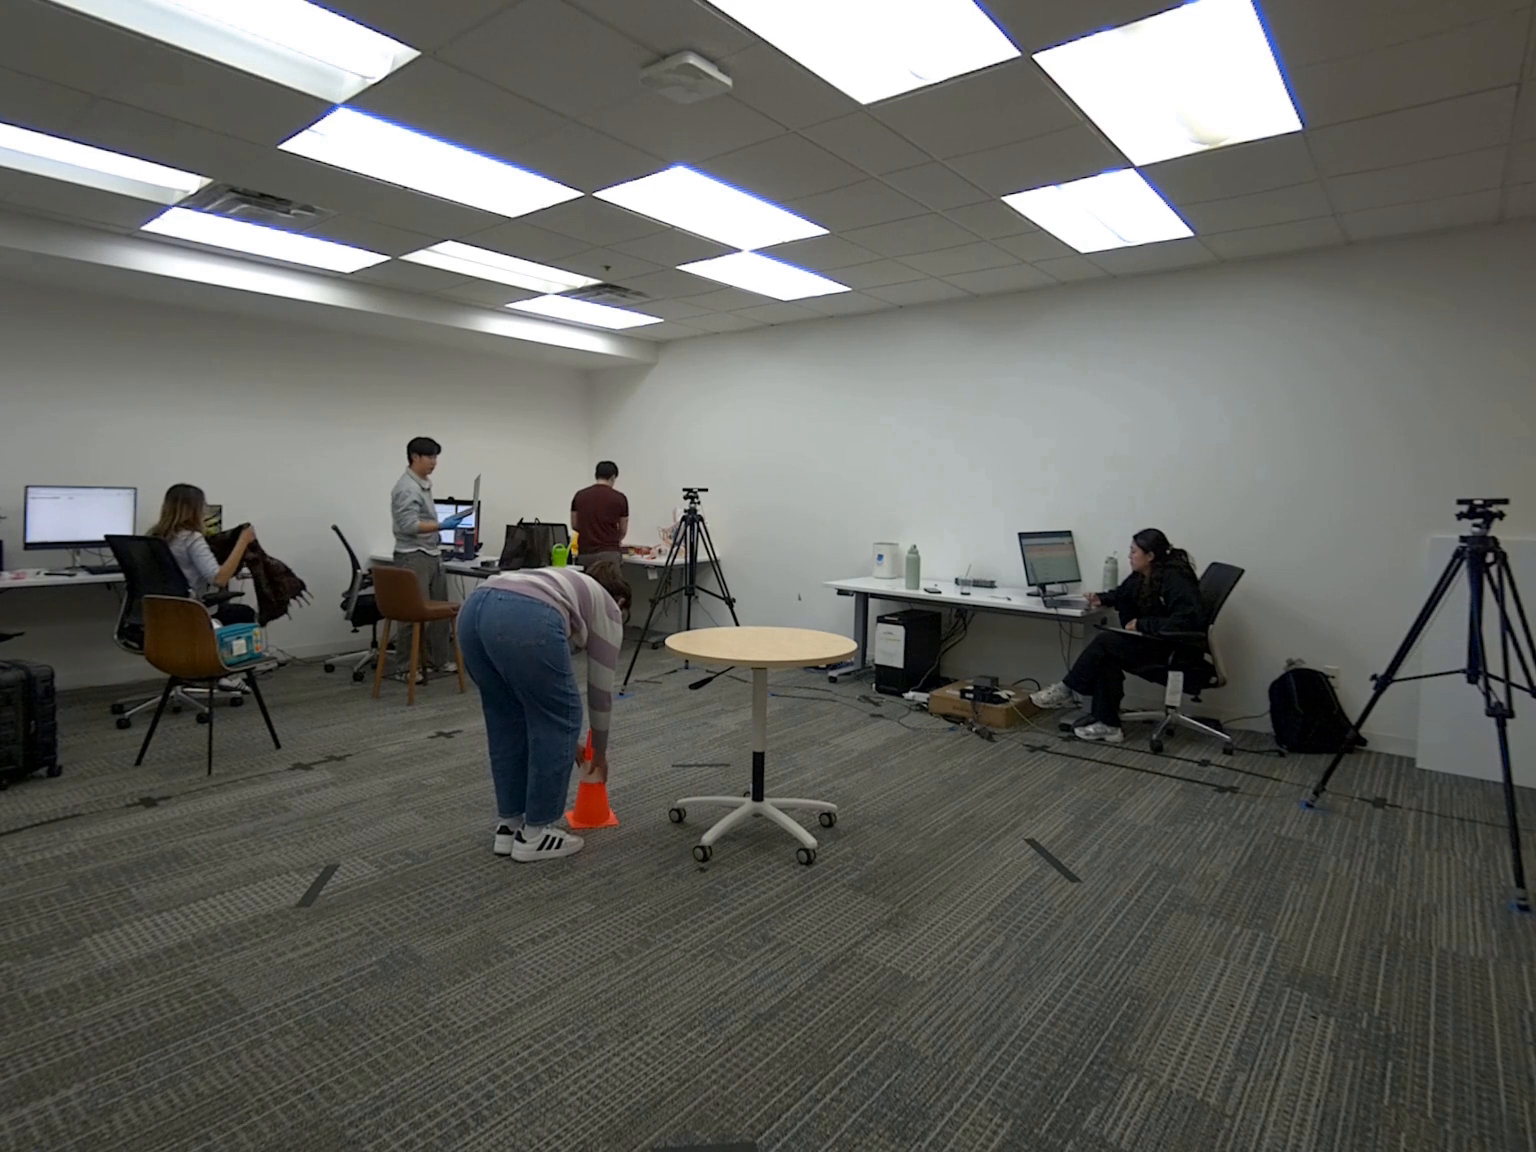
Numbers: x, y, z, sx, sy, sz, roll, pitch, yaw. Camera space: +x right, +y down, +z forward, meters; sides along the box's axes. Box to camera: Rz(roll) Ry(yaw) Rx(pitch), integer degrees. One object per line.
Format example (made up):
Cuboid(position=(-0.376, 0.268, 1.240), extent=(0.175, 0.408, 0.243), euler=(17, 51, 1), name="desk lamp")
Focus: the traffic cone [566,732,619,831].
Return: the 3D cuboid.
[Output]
Cuboid(position=(-0.753, 0.827, 3.575), extent=(0.199, 0.383, 0.210), euler=(0, 2, -23), name="traffic cone")
